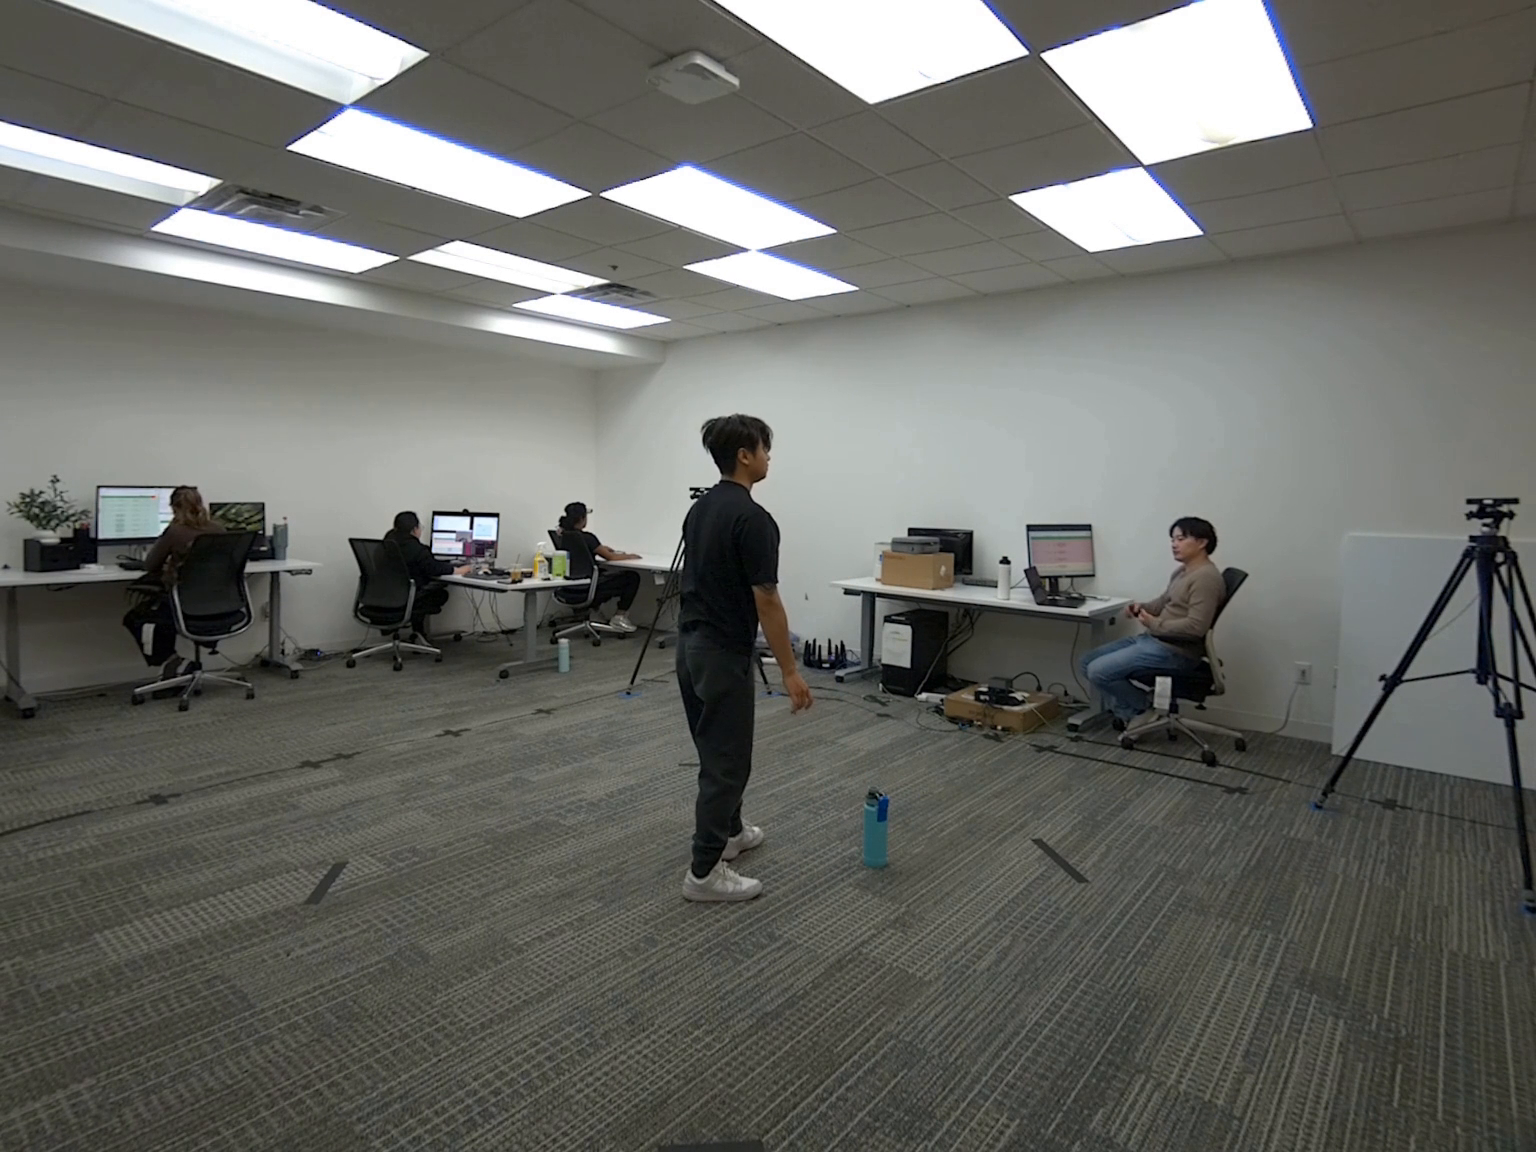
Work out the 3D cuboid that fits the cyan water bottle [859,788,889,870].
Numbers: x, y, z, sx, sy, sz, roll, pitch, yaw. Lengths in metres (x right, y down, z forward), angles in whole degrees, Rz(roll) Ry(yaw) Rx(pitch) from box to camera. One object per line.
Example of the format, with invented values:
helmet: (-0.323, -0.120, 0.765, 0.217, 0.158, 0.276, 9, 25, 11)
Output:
cyan water bottle: (0.401, 0.936, 3.173, 0.092, 0.282, 0.093, 3, 3, -2)
